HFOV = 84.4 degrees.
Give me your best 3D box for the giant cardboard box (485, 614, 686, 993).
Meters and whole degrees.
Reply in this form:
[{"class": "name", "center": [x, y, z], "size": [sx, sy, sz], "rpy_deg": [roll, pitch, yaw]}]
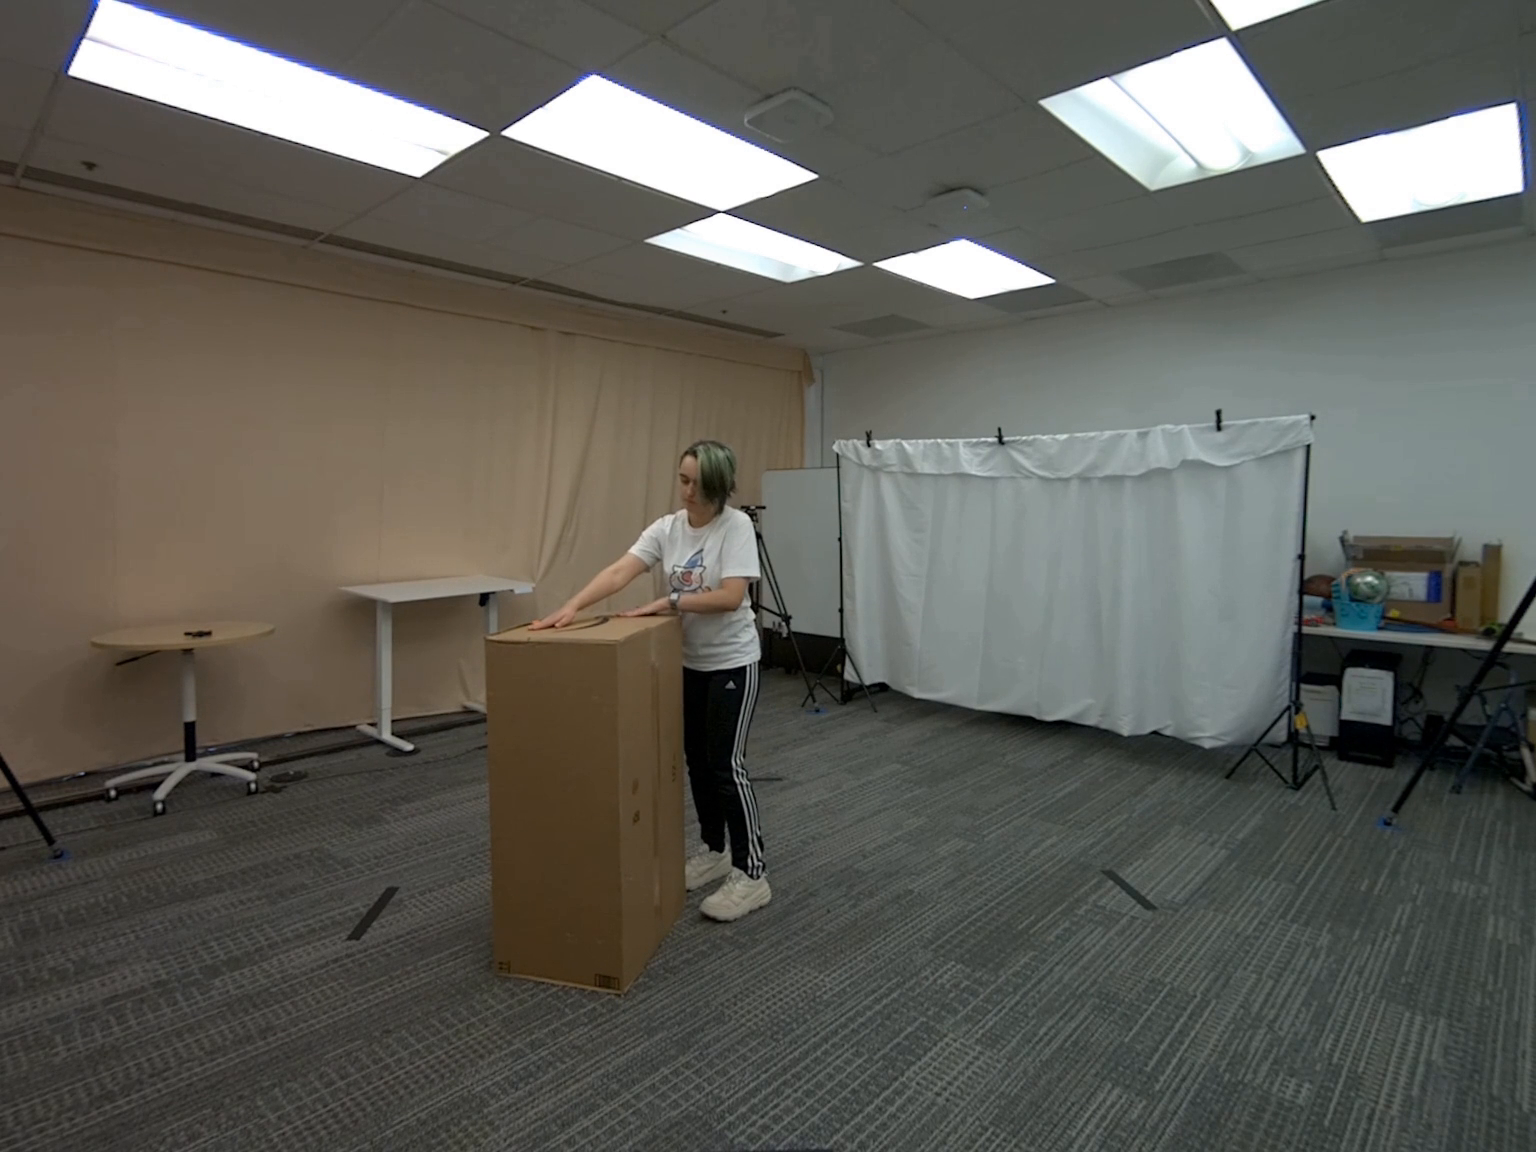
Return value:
[{"class": "giant cardboard box", "center": [-0.560, 0.664, 2.697], "size": [0.454, 1.025, 0.576], "rpy_deg": [1, 3, 14]}]
